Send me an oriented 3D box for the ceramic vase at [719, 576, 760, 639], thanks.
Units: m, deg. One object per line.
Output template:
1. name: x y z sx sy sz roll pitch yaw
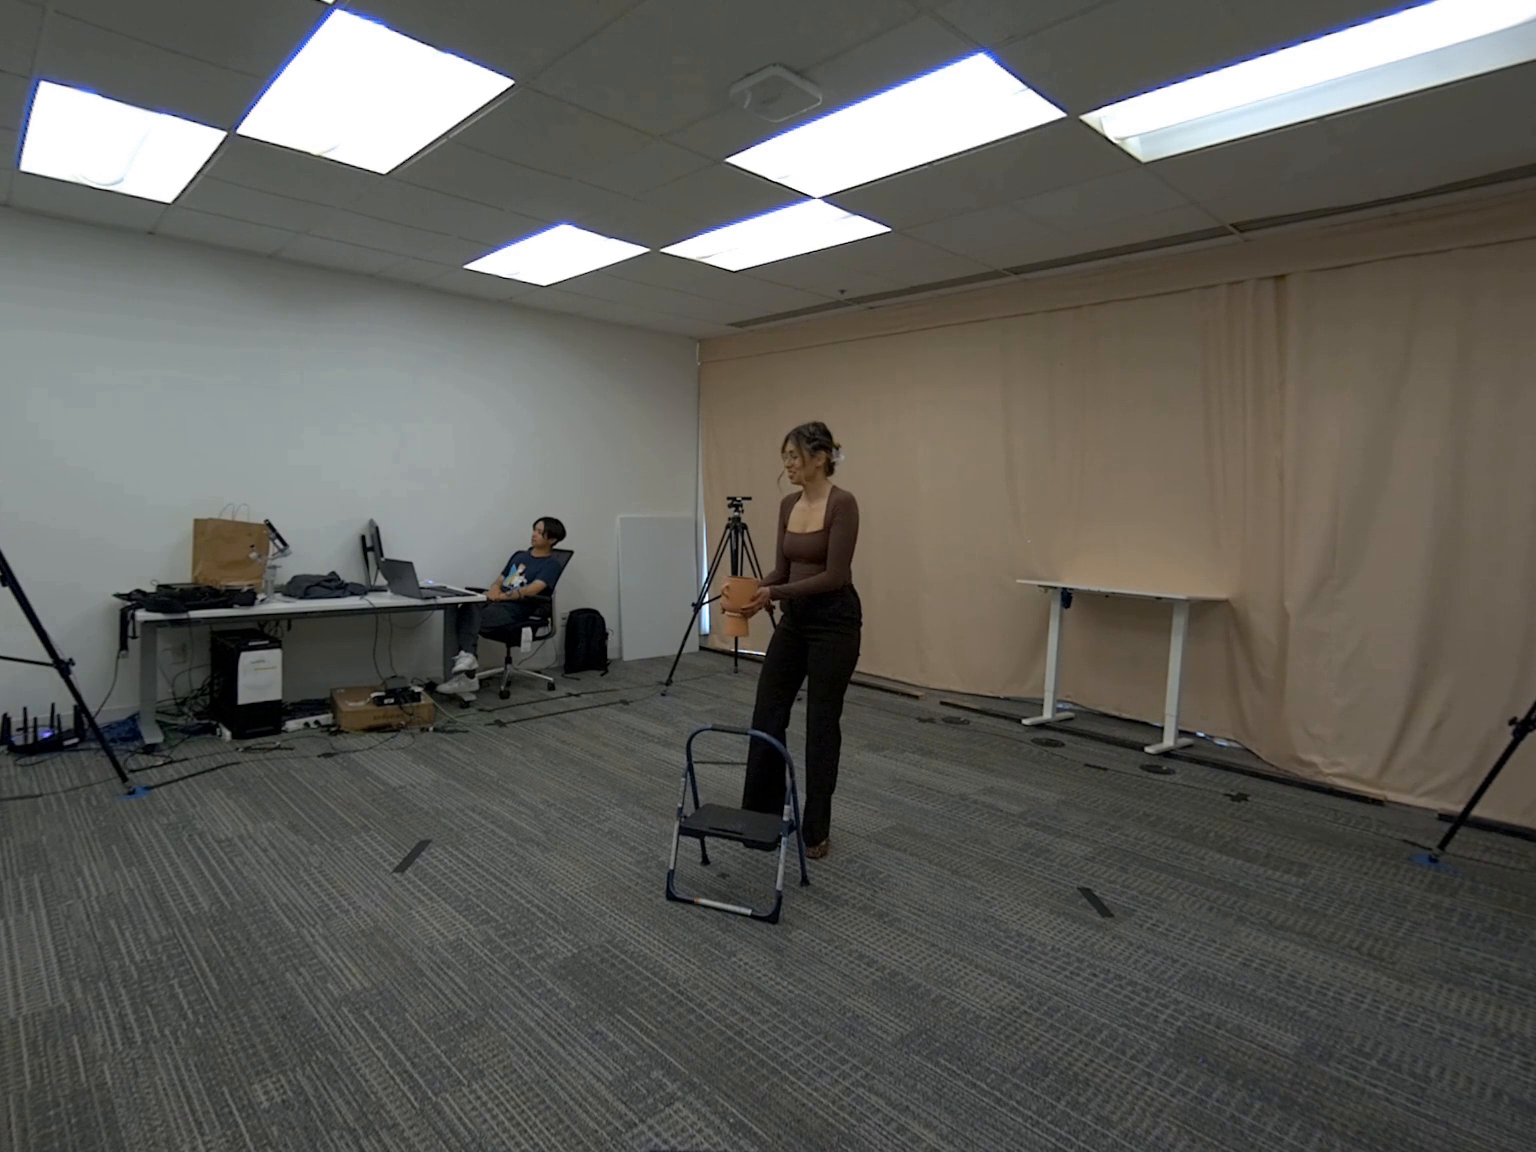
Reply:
1. ceramic vase: -0.126 0.117 3.208 0.157 0.219 0.136 3 3 -11
